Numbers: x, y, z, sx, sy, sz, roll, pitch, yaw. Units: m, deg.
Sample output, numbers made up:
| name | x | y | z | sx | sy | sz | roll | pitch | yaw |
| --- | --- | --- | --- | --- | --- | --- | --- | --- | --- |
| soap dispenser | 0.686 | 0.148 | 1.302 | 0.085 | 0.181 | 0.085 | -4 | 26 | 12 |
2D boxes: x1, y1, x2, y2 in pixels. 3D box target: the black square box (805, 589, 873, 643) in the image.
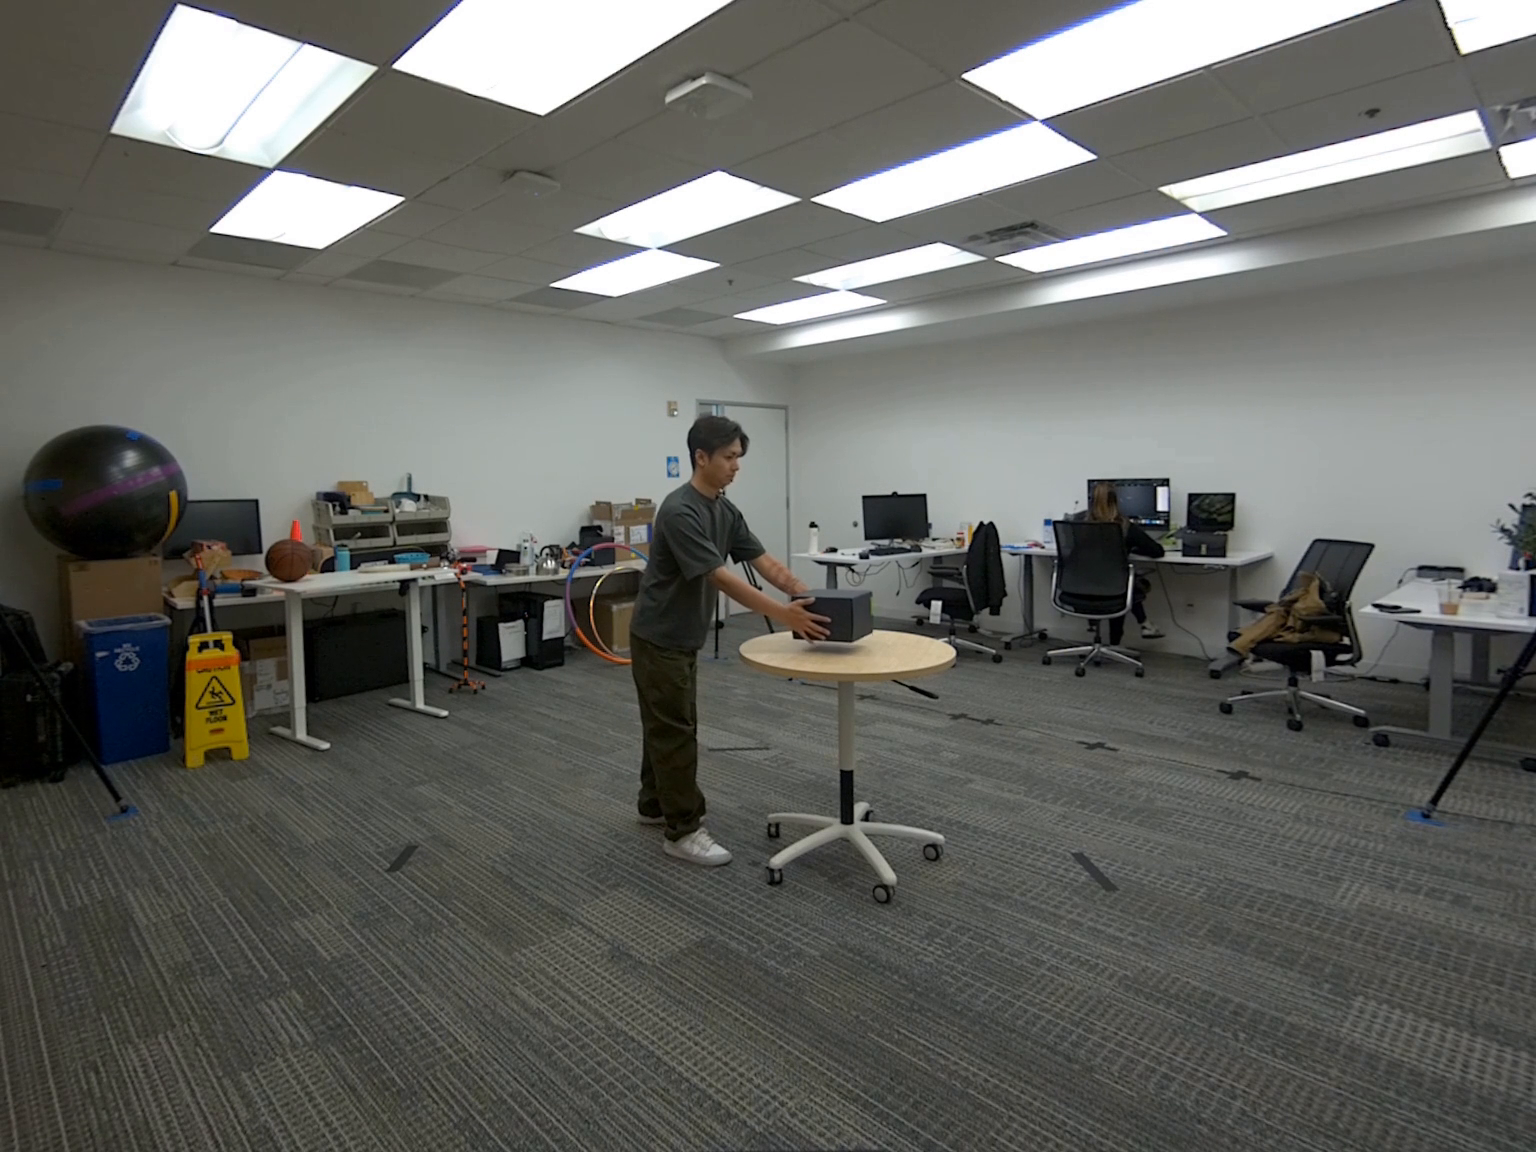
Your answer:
| name | x | y | z | sx | sy | sz | roll | pitch | yaw |
| --- | --- | --- | --- | --- | --- | --- | --- | --- | --- |
| black square box | 0.235 | 0.134 | 3.060 | 0.233 | 0.155 | 0.212 | 1 | 5 | 27 |
